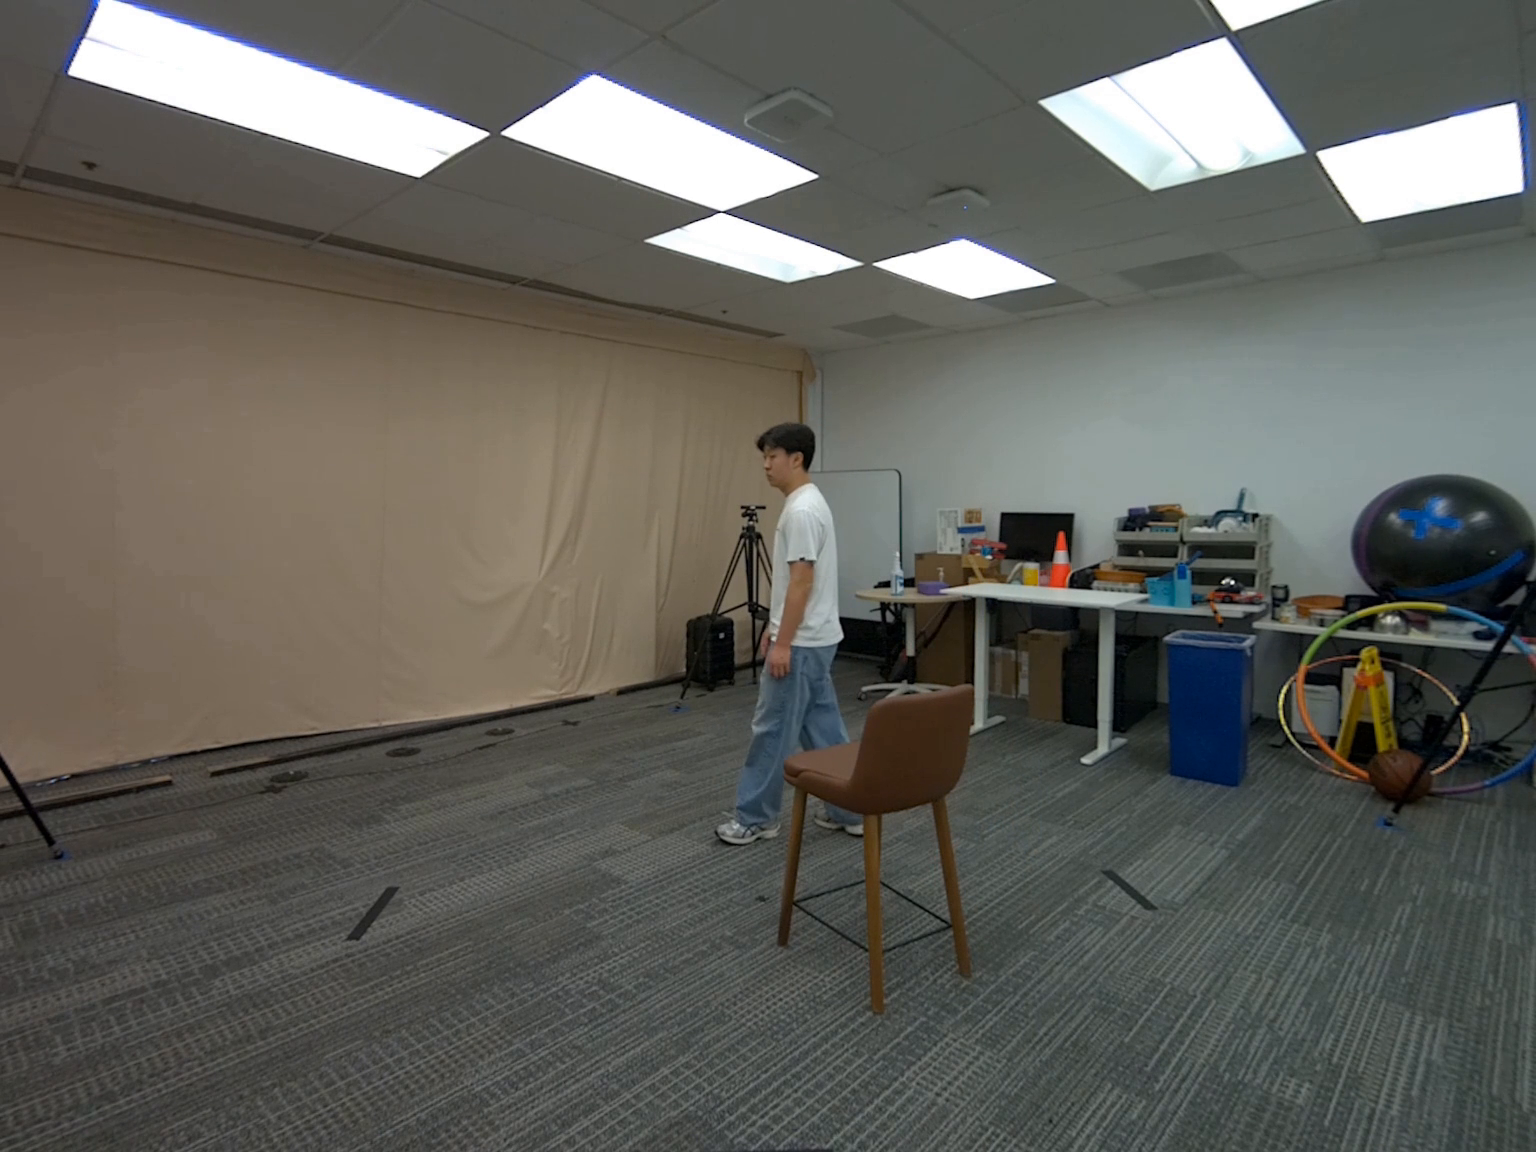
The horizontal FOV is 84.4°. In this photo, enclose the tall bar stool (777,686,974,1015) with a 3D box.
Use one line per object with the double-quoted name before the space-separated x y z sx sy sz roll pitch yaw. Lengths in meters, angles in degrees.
"tall bar stool" 0.332 0.741 2.564 0.443 0.887 0.482 -2 5 -34
